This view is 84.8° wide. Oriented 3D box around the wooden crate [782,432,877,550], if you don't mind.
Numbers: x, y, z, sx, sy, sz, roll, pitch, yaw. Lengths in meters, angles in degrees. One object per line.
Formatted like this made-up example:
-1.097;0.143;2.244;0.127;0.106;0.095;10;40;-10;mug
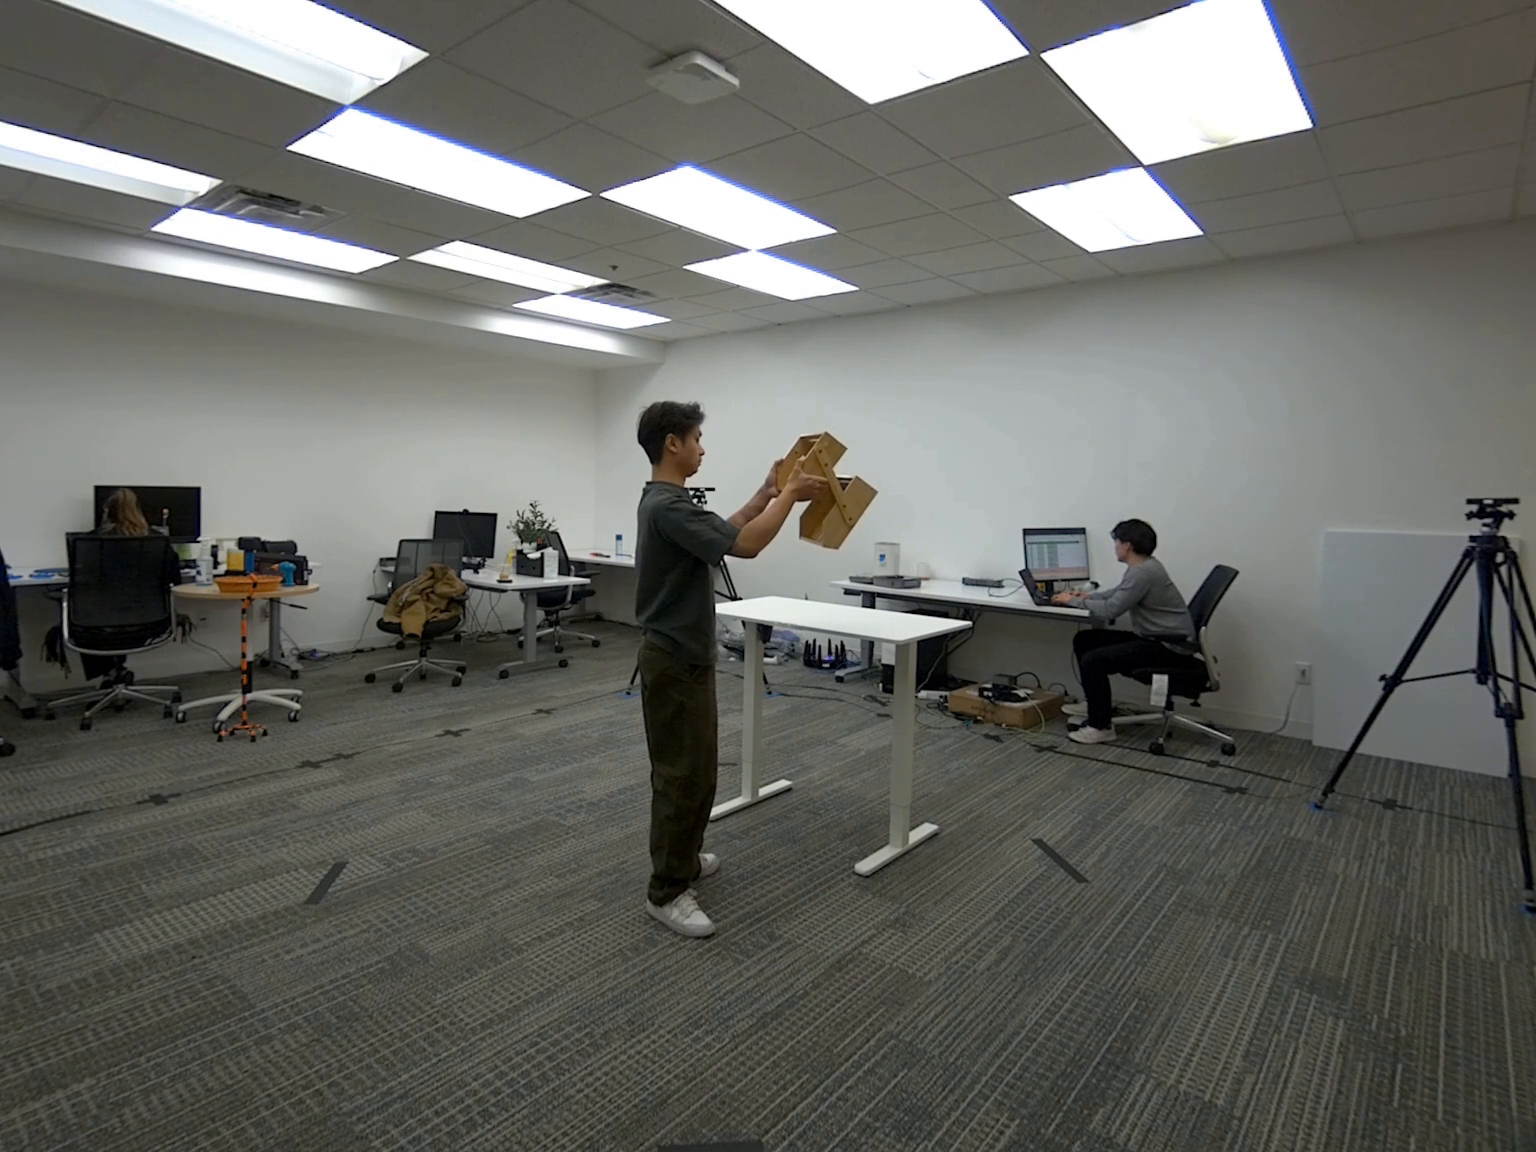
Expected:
0.146;-0.284;2.857;0.268;0.302;0.330;36;-2;-14;wooden crate
